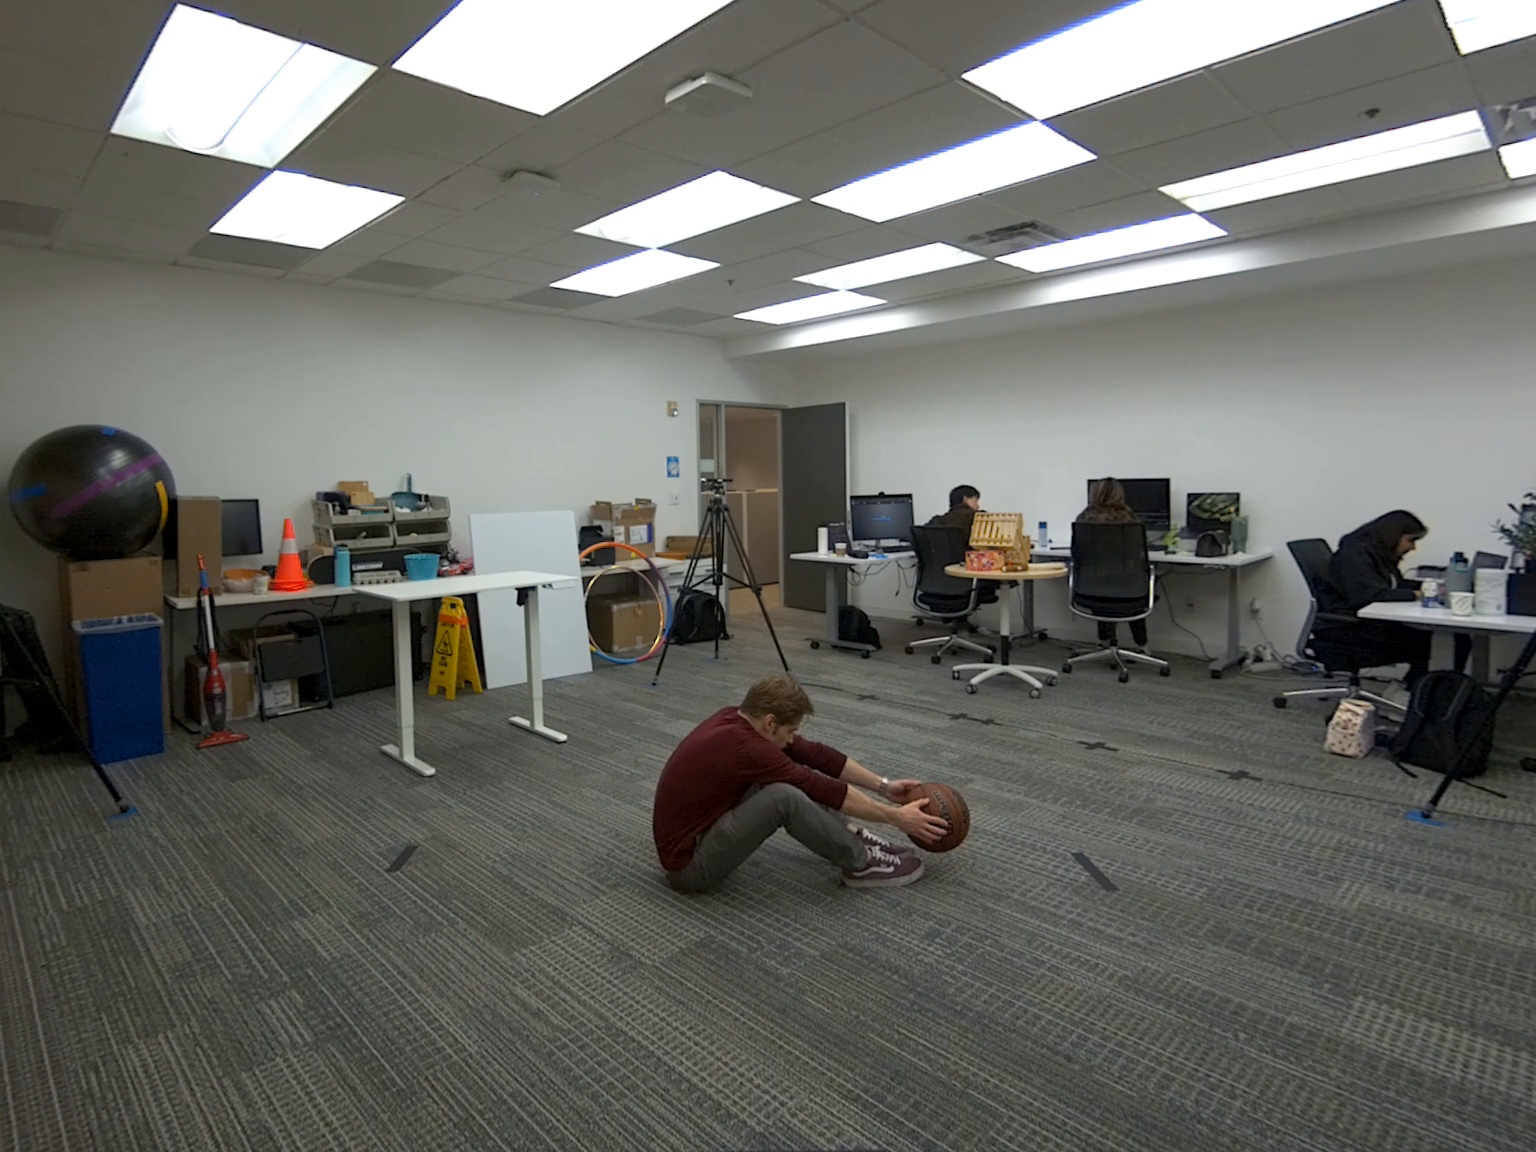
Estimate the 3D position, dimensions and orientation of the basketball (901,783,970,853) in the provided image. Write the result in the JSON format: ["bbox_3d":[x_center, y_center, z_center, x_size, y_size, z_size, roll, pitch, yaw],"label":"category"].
[{"bbox_3d":[0.596,0.853,3.026,0.236,0.235,0.237,-1,5,-2],"label":"basketball"}]
